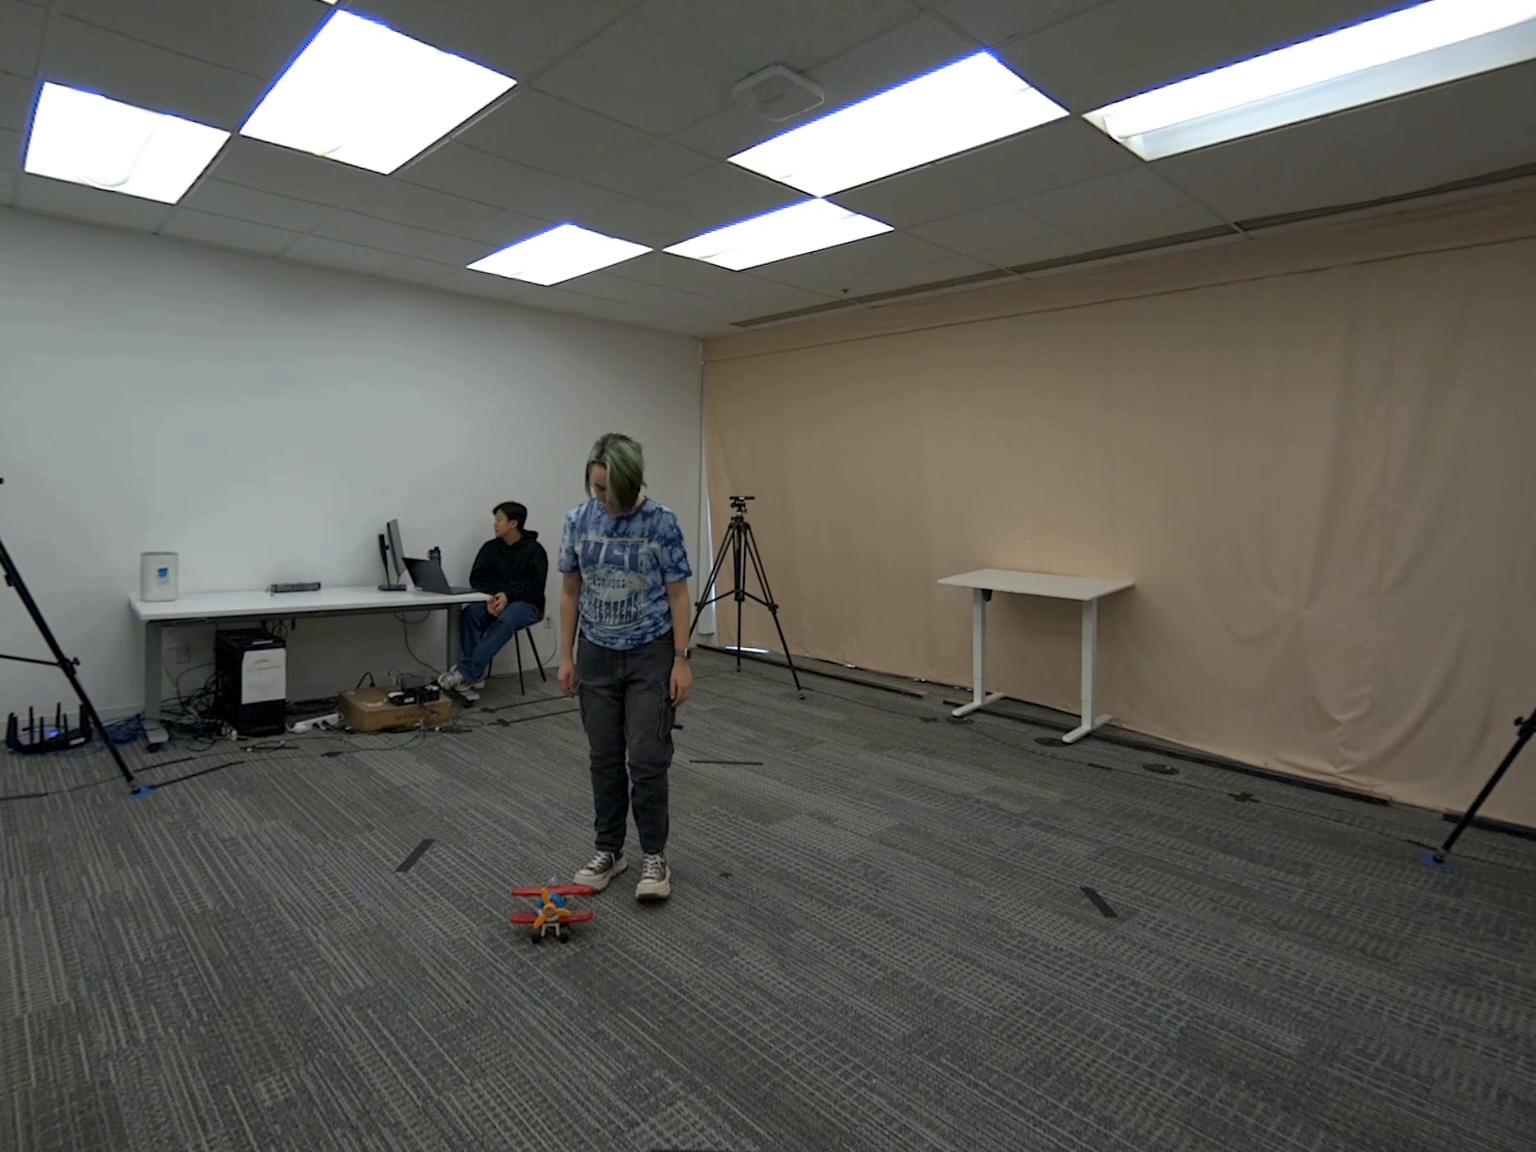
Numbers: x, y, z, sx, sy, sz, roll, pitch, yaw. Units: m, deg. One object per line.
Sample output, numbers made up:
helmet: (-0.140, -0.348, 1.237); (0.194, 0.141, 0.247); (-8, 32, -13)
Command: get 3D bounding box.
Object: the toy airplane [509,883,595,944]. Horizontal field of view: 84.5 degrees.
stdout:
toy airplane: (-0.724, 1.065, 2.689); (0.246, 0.156, 0.265); (-2, 7, -33)
